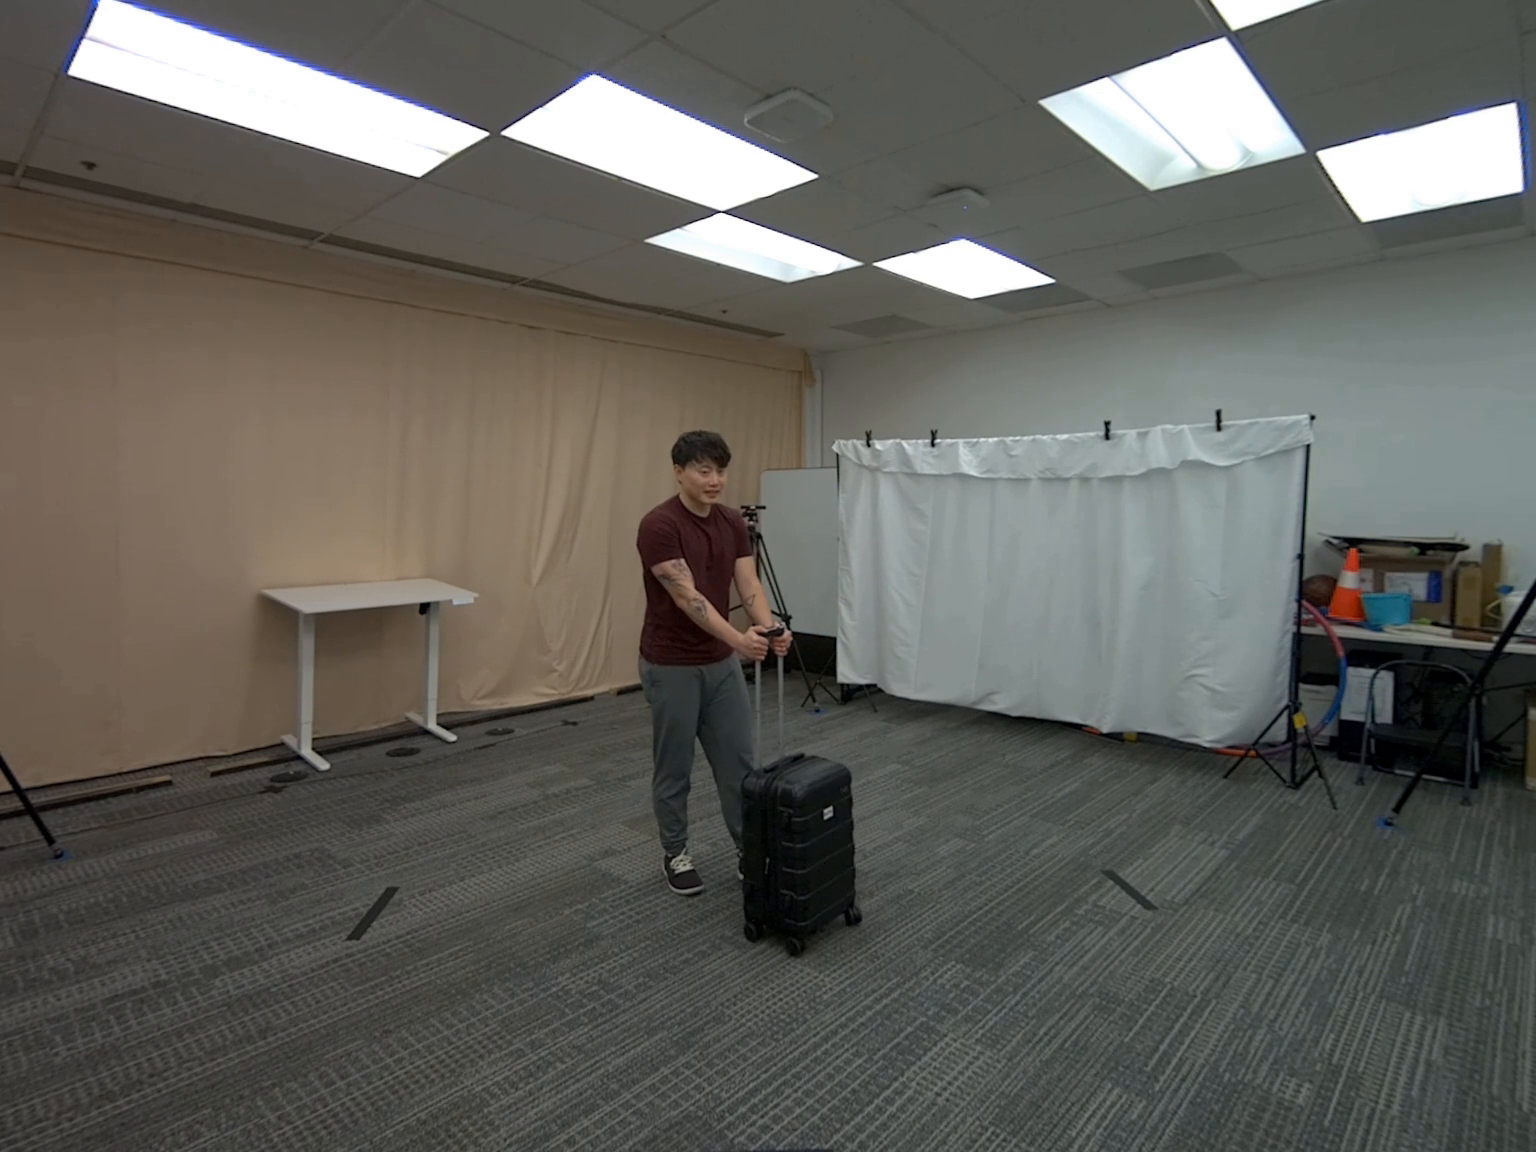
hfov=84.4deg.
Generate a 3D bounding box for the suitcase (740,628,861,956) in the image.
[{"bbox_3d":[0.108,0.686,2.757,0.265,0.977,0.372,2,3,37],"label":"suitcase"}]
